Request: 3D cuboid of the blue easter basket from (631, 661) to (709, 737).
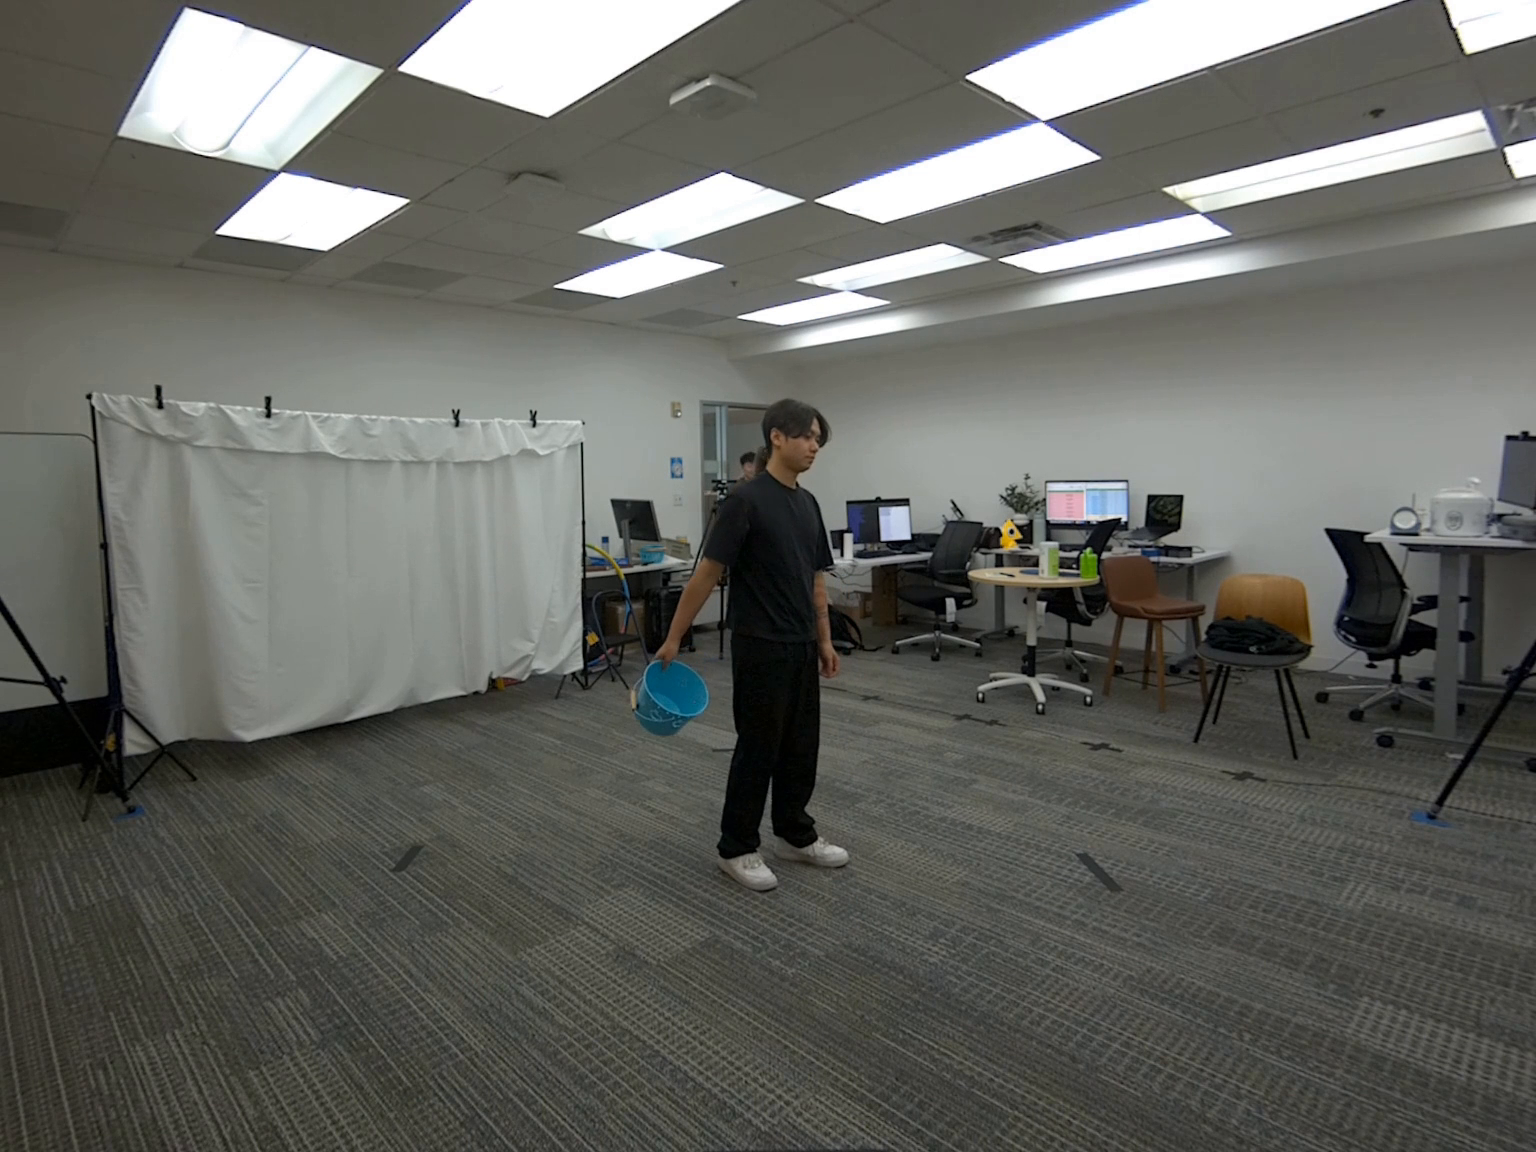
[{"bbox_3d":[-0.331,0.415,2.860,0.238,0.155,0.250,21,35,-18],"label":"blue easter basket"}]
